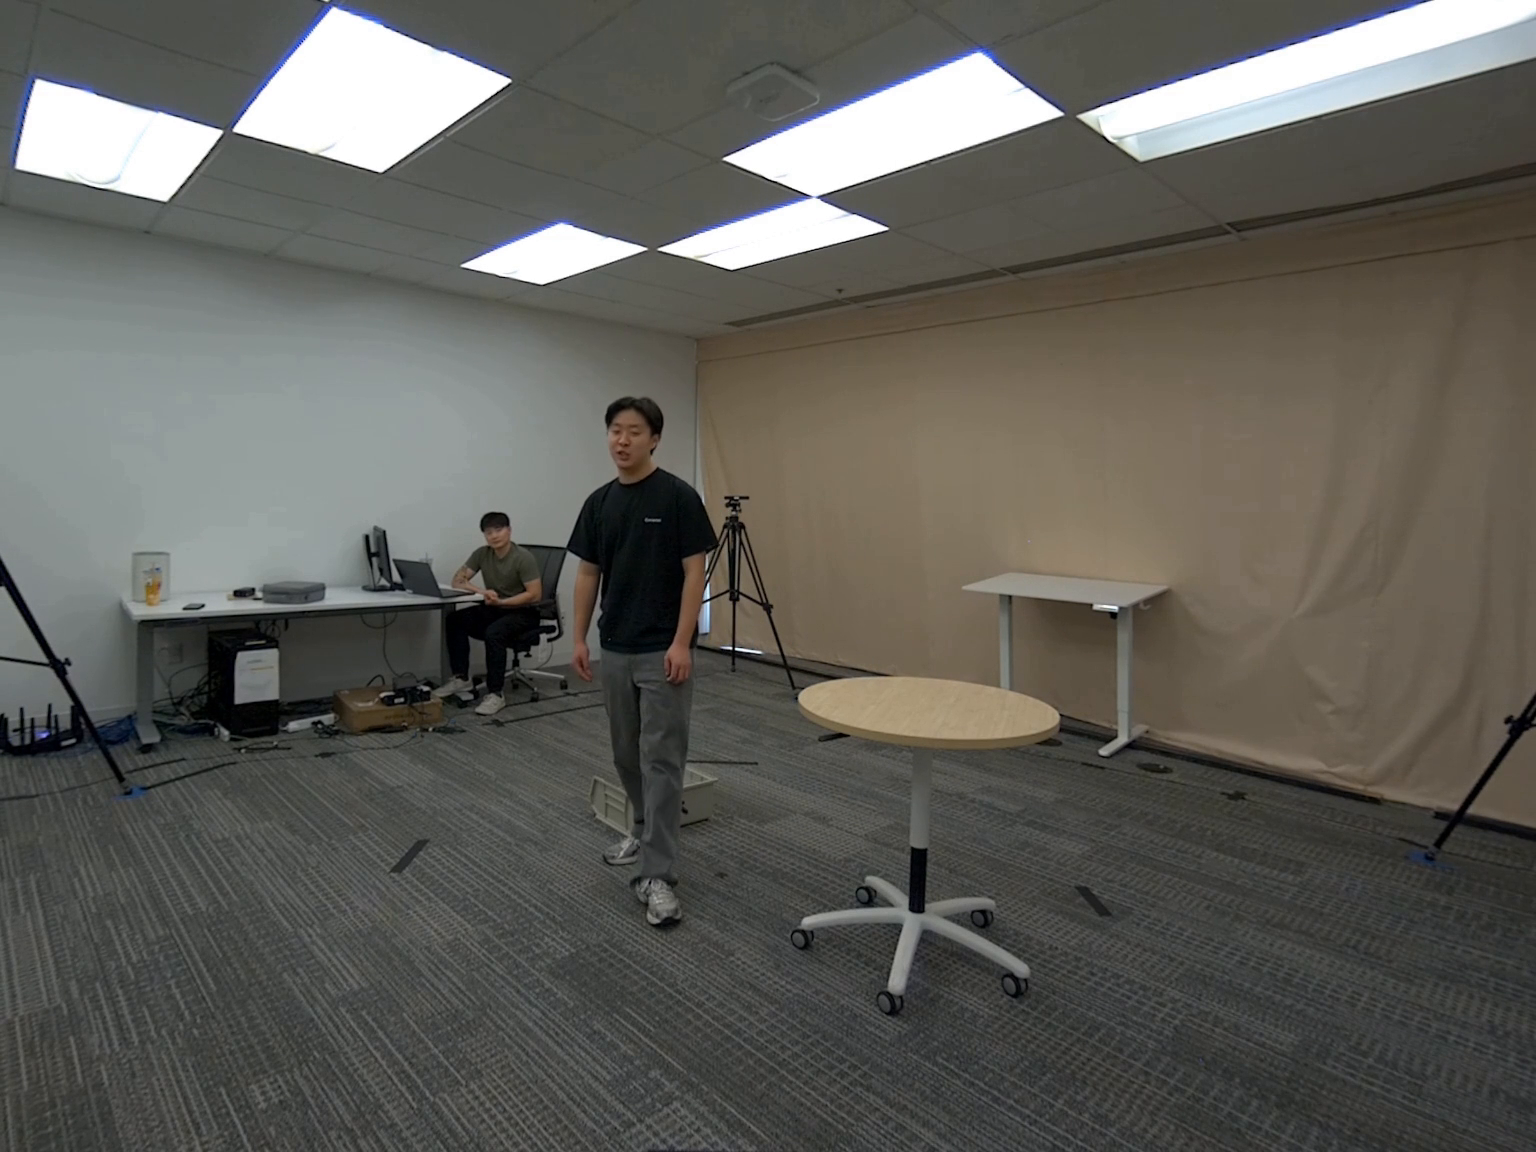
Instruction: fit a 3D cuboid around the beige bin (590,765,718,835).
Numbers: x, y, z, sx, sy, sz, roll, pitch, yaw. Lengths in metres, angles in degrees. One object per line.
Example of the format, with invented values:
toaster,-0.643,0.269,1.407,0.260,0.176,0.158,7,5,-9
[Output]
beige bin,-0.506,0.959,3.655,0.413,0.188,0.387,-2,7,-40
